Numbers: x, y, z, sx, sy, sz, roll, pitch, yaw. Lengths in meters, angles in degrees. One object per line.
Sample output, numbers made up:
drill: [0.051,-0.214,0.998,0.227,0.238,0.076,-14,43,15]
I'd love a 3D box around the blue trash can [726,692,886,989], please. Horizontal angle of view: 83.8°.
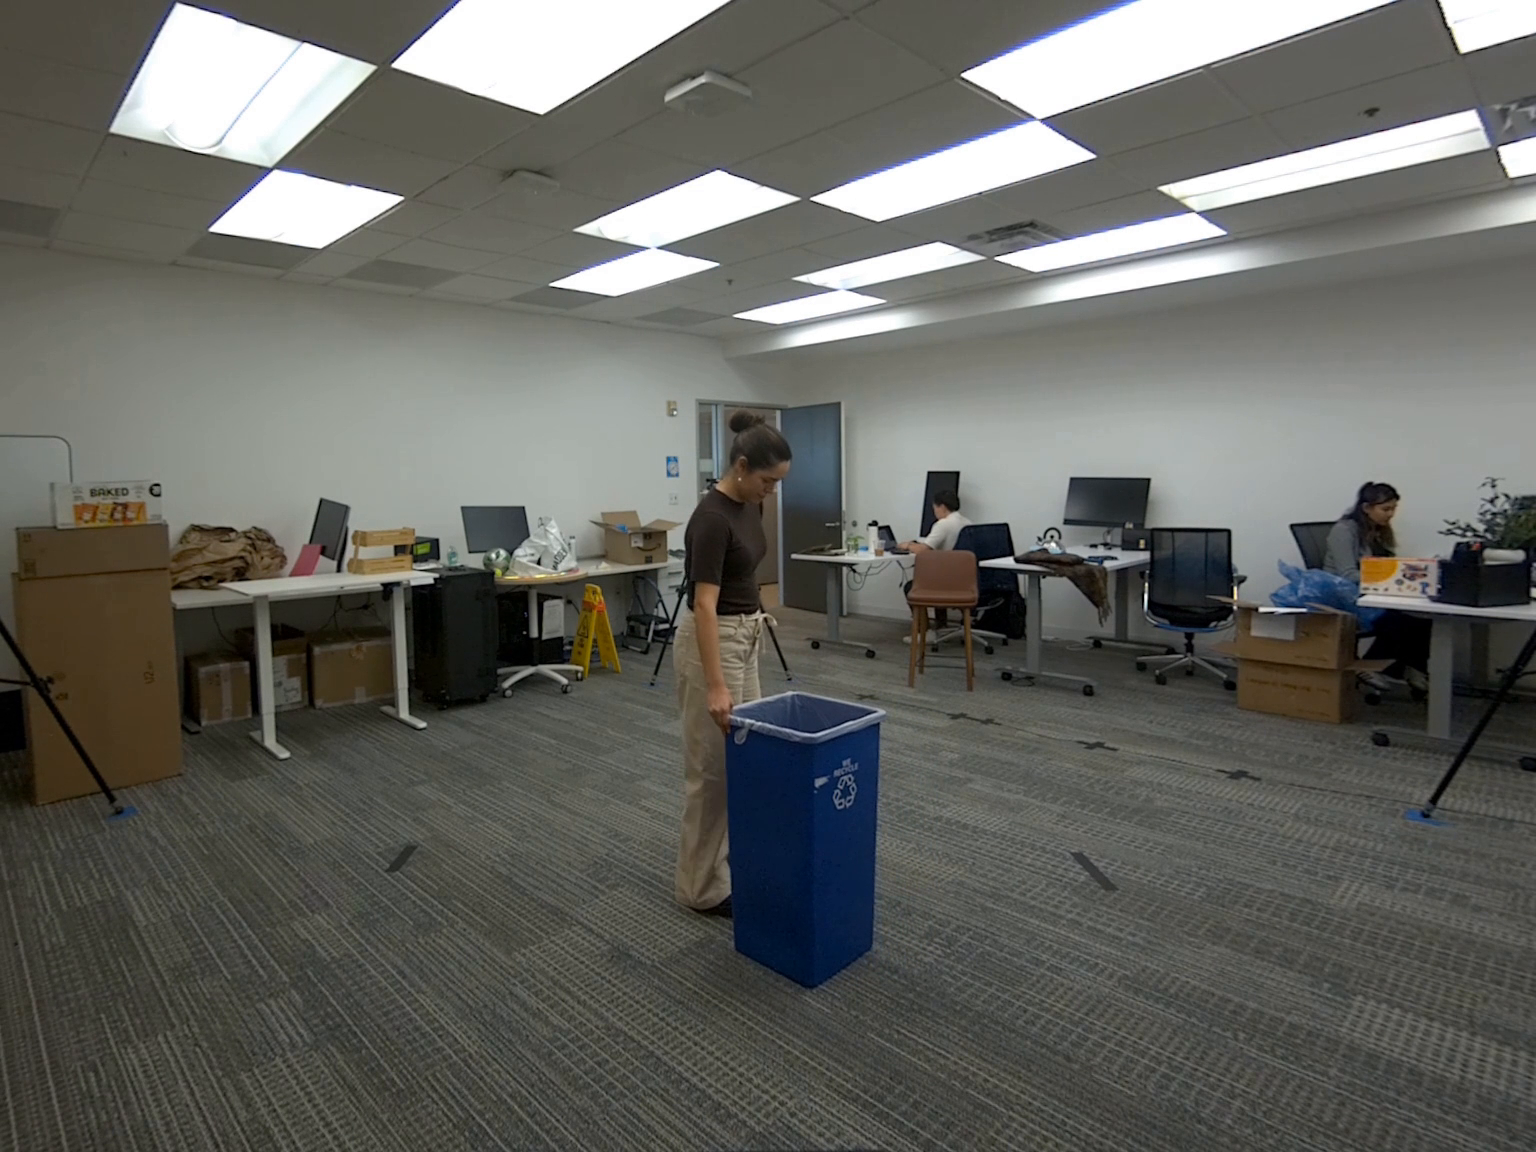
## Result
blue trash can: [0.114,0.751,2.513,0.385,0.711,0.368,2,4,42]
